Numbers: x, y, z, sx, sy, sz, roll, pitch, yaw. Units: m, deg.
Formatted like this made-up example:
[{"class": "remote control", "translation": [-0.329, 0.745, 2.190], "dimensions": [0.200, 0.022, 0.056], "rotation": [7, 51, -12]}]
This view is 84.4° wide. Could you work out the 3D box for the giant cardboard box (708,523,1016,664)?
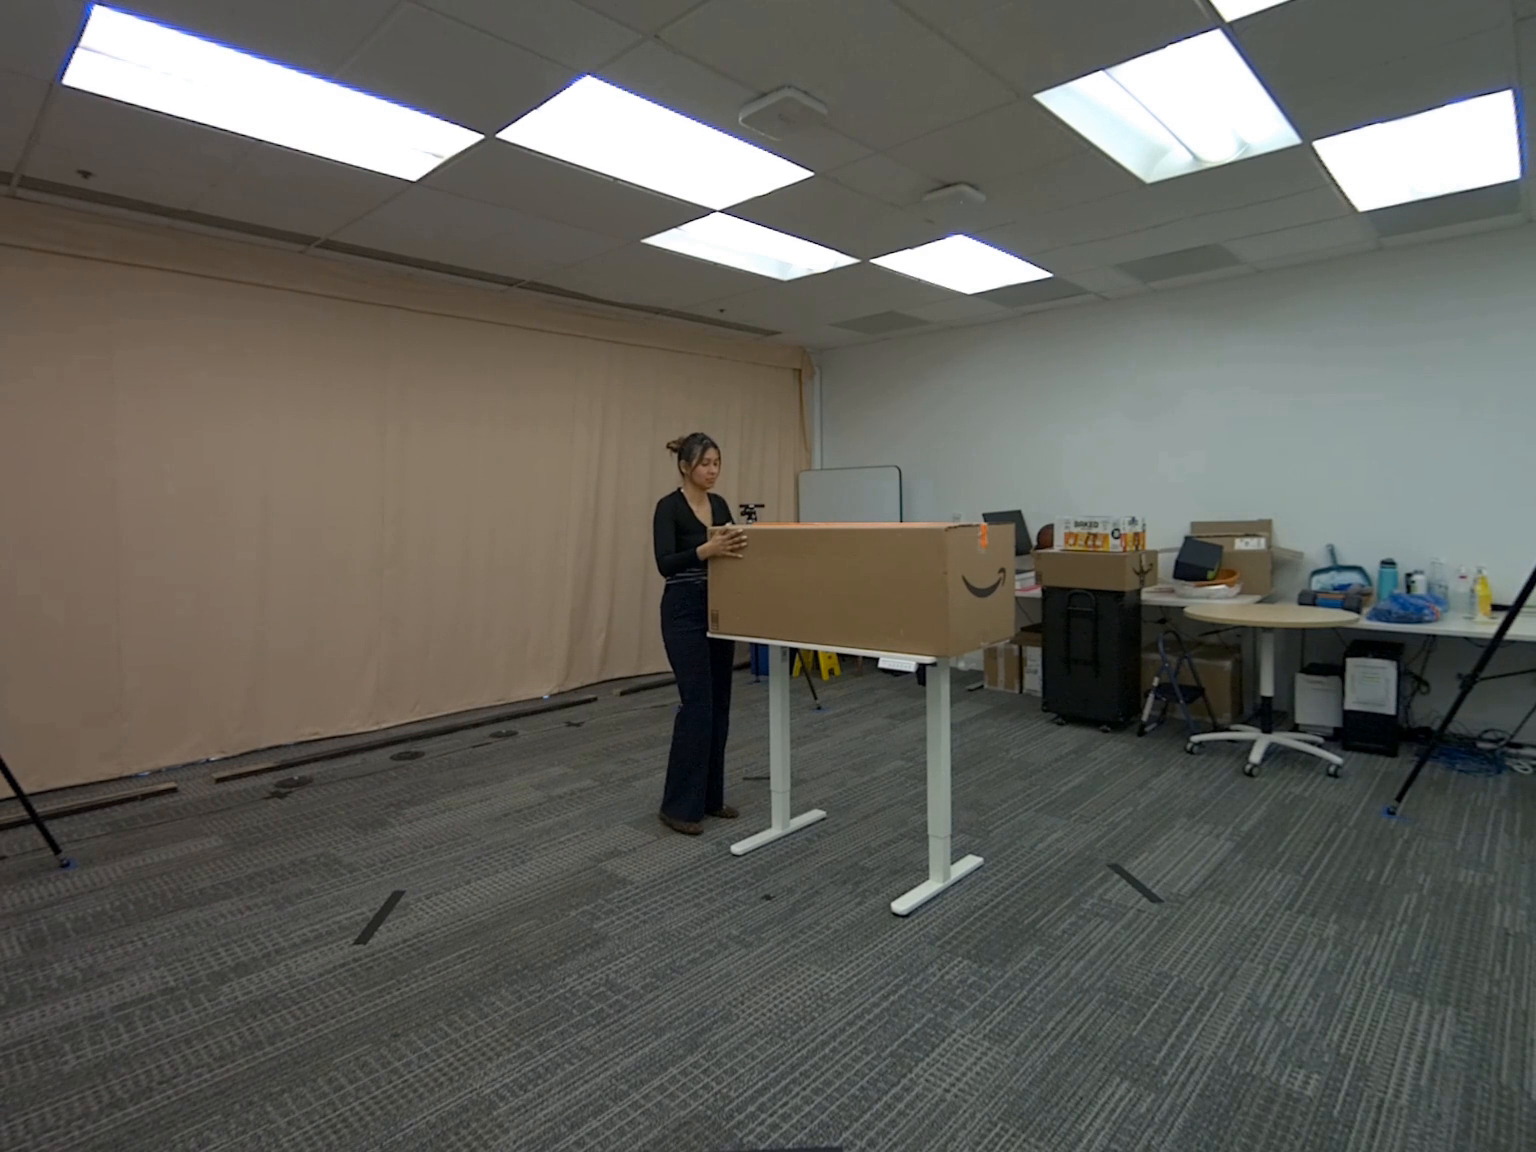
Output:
[{"class": "giant cardboard box", "translation": [0.338, 0.019, 3.227], "dimensions": [1.059, 0.425, 0.560], "rotation": [2, 5, 39]}]
